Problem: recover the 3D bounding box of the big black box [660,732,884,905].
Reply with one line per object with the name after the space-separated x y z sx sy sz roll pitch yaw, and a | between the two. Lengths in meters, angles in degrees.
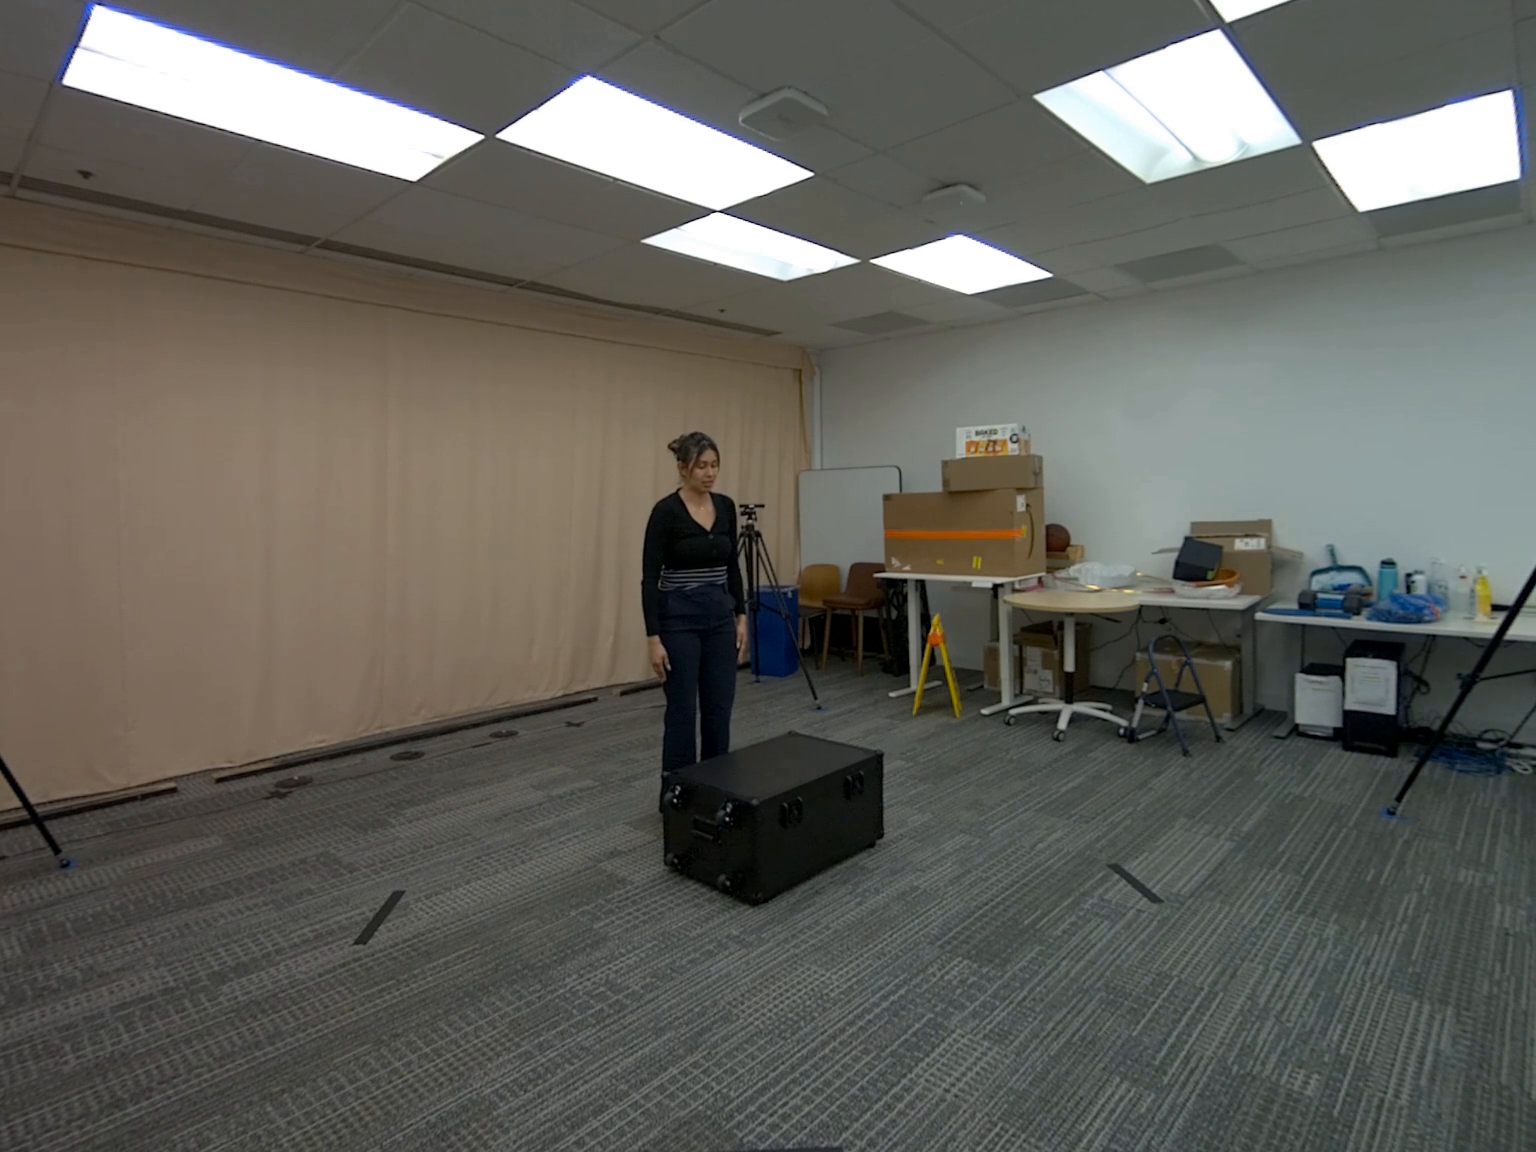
0.064 0.917 3.334 0.538 0.395 0.836 3 6 43 | big black box
